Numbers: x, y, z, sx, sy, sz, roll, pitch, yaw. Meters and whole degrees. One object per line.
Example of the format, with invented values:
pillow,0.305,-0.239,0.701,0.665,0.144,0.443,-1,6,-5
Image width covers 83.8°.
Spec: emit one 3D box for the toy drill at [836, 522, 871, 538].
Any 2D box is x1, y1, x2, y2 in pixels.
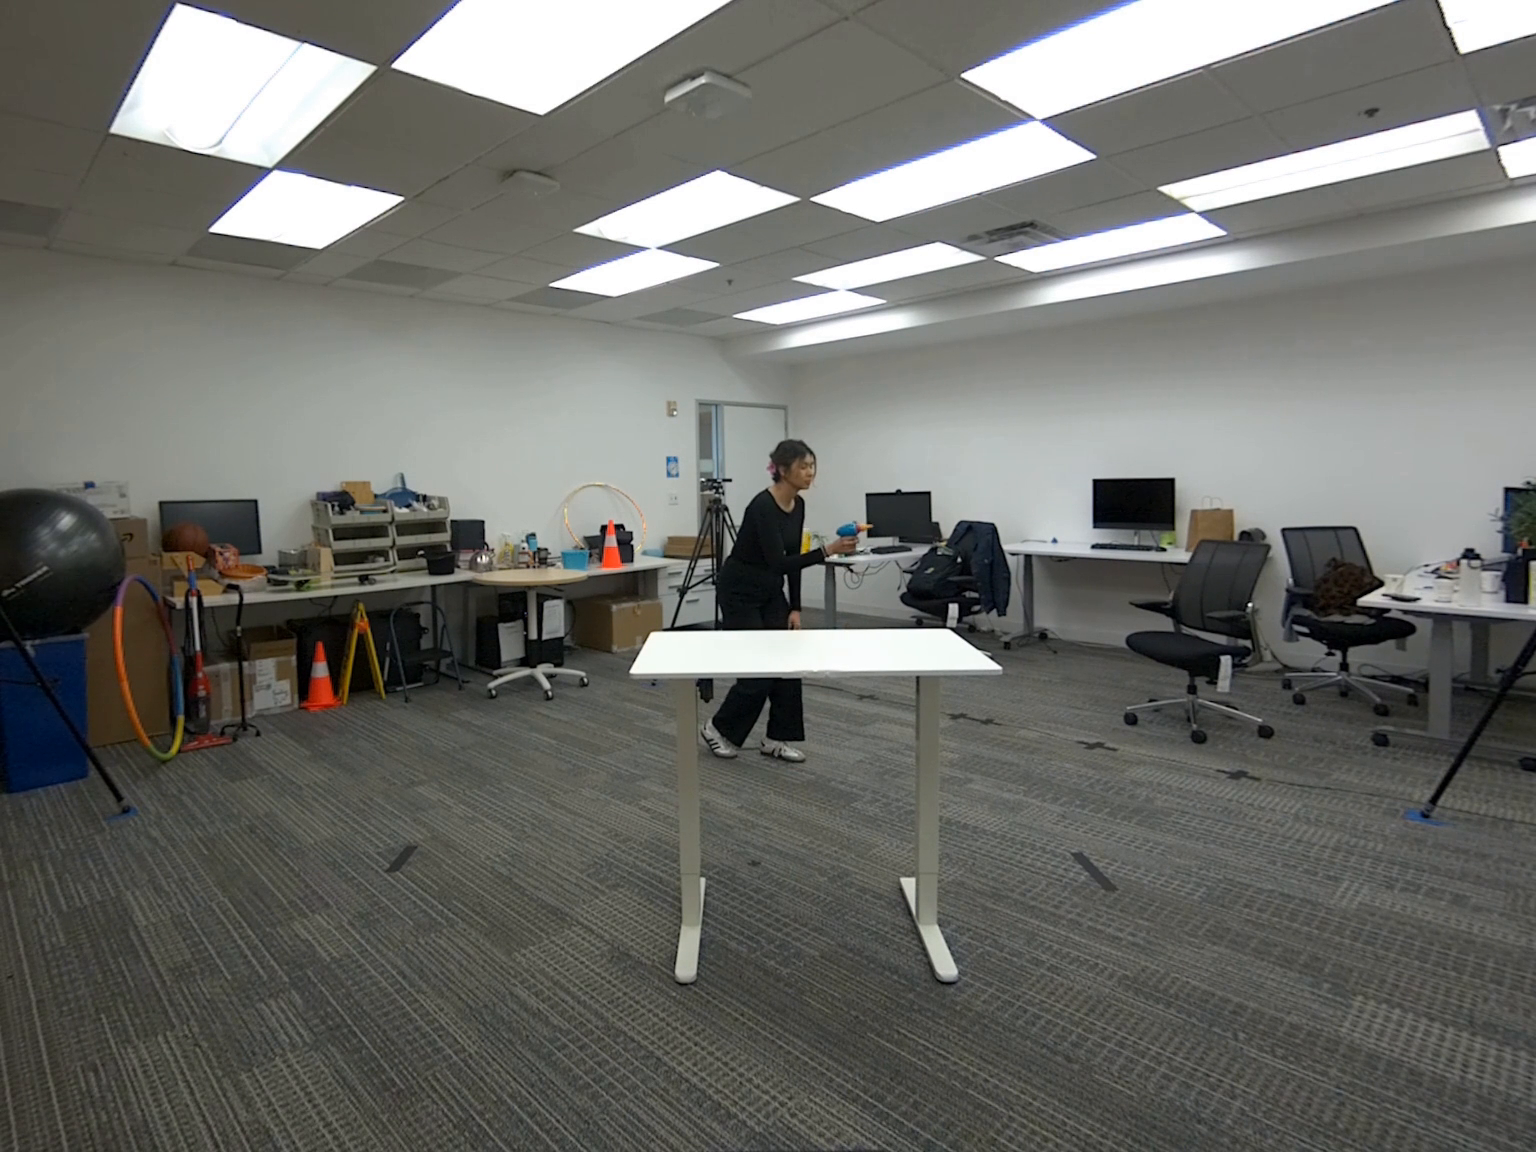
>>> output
toy drill,0.398,-0.172,3.873,0.172,0.144,0.061,-11,12,16
